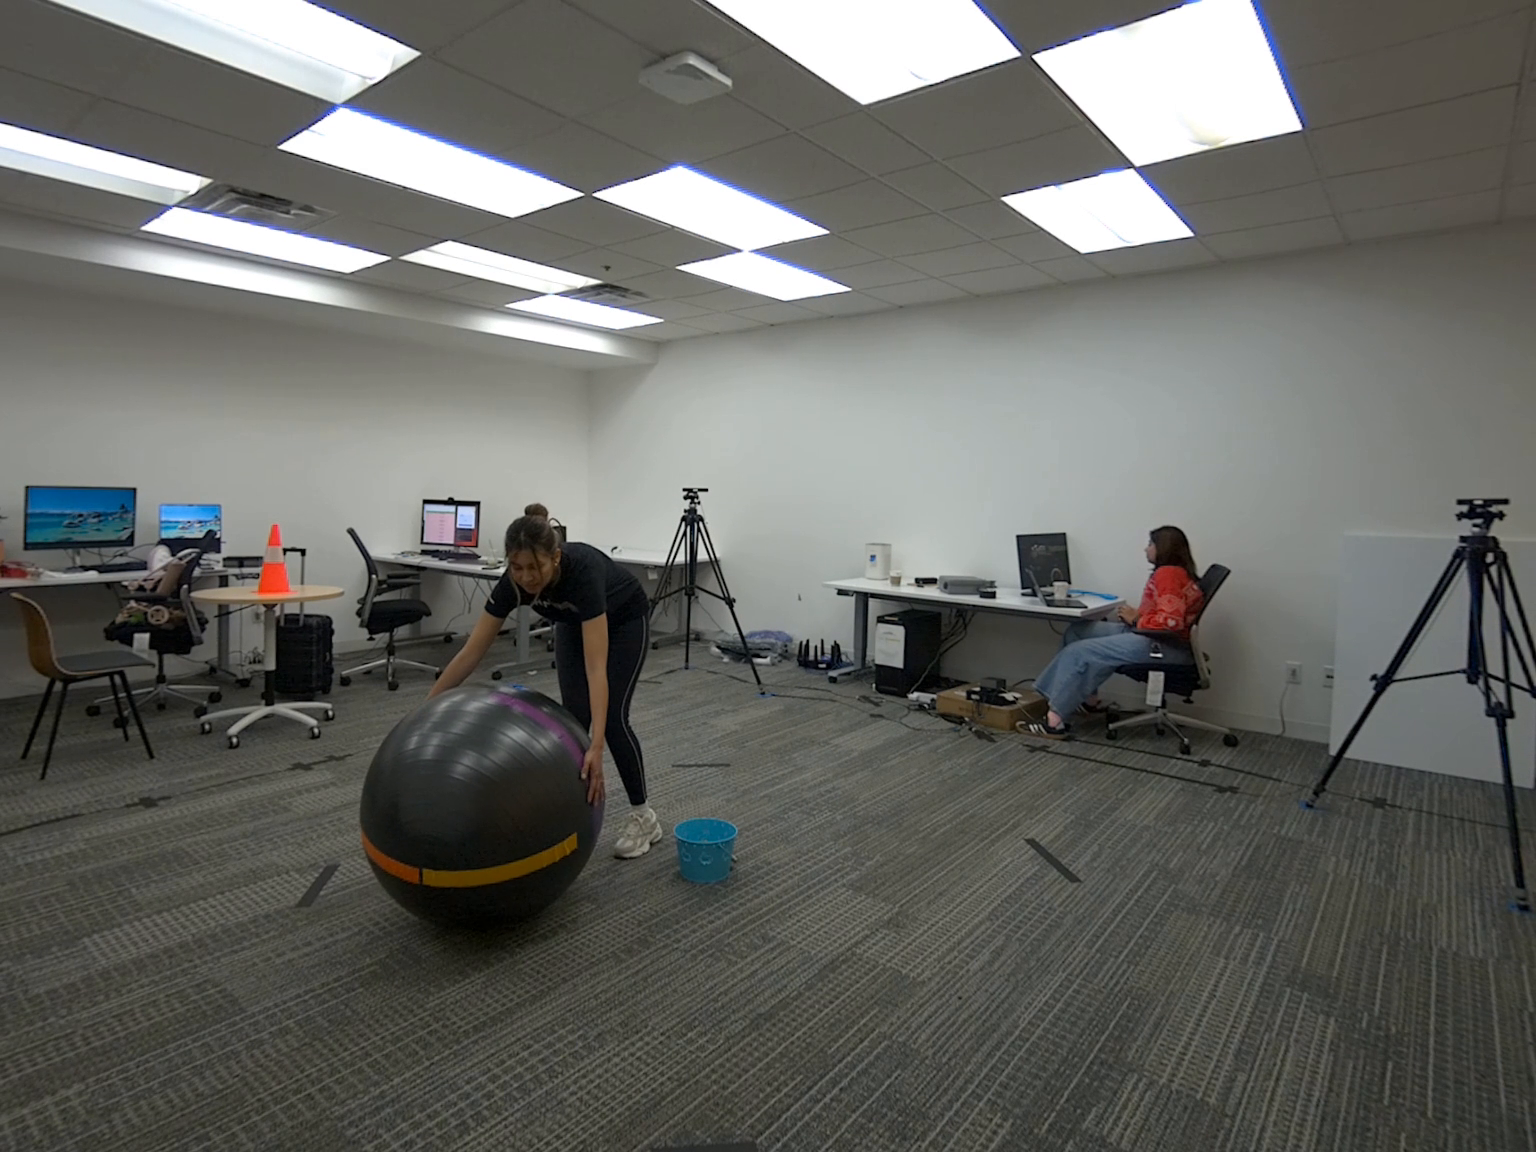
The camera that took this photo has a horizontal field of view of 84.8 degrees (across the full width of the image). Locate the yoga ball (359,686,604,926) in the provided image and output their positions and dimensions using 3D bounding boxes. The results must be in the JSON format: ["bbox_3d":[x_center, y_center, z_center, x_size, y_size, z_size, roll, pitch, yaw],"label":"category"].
[{"bbox_3d":[-0.913,0.730,2.733,0.757,0.755,0.762,1,4,-2],"label":"yoga ball"}]
